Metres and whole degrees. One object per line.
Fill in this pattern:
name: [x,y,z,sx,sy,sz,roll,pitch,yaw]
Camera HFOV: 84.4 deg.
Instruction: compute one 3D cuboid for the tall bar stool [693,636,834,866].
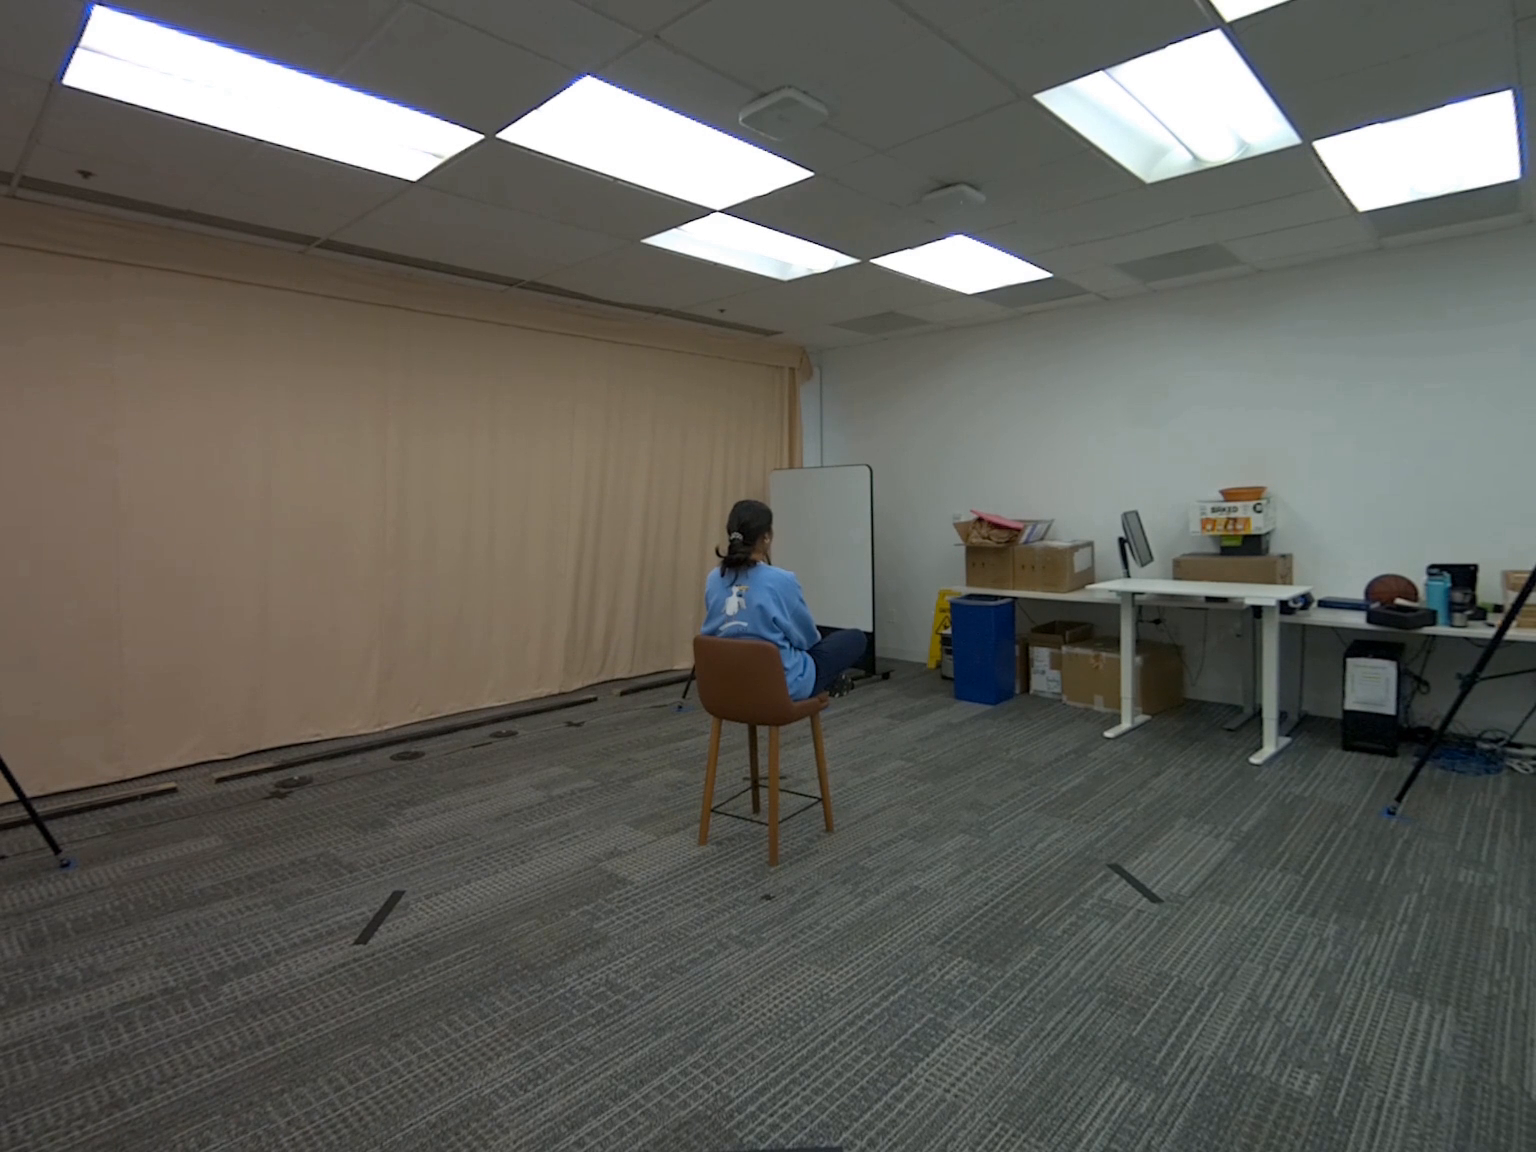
tall bar stool: [-0.022,0.661,3.497,0.471,0.887,0.454,1,5,36]
